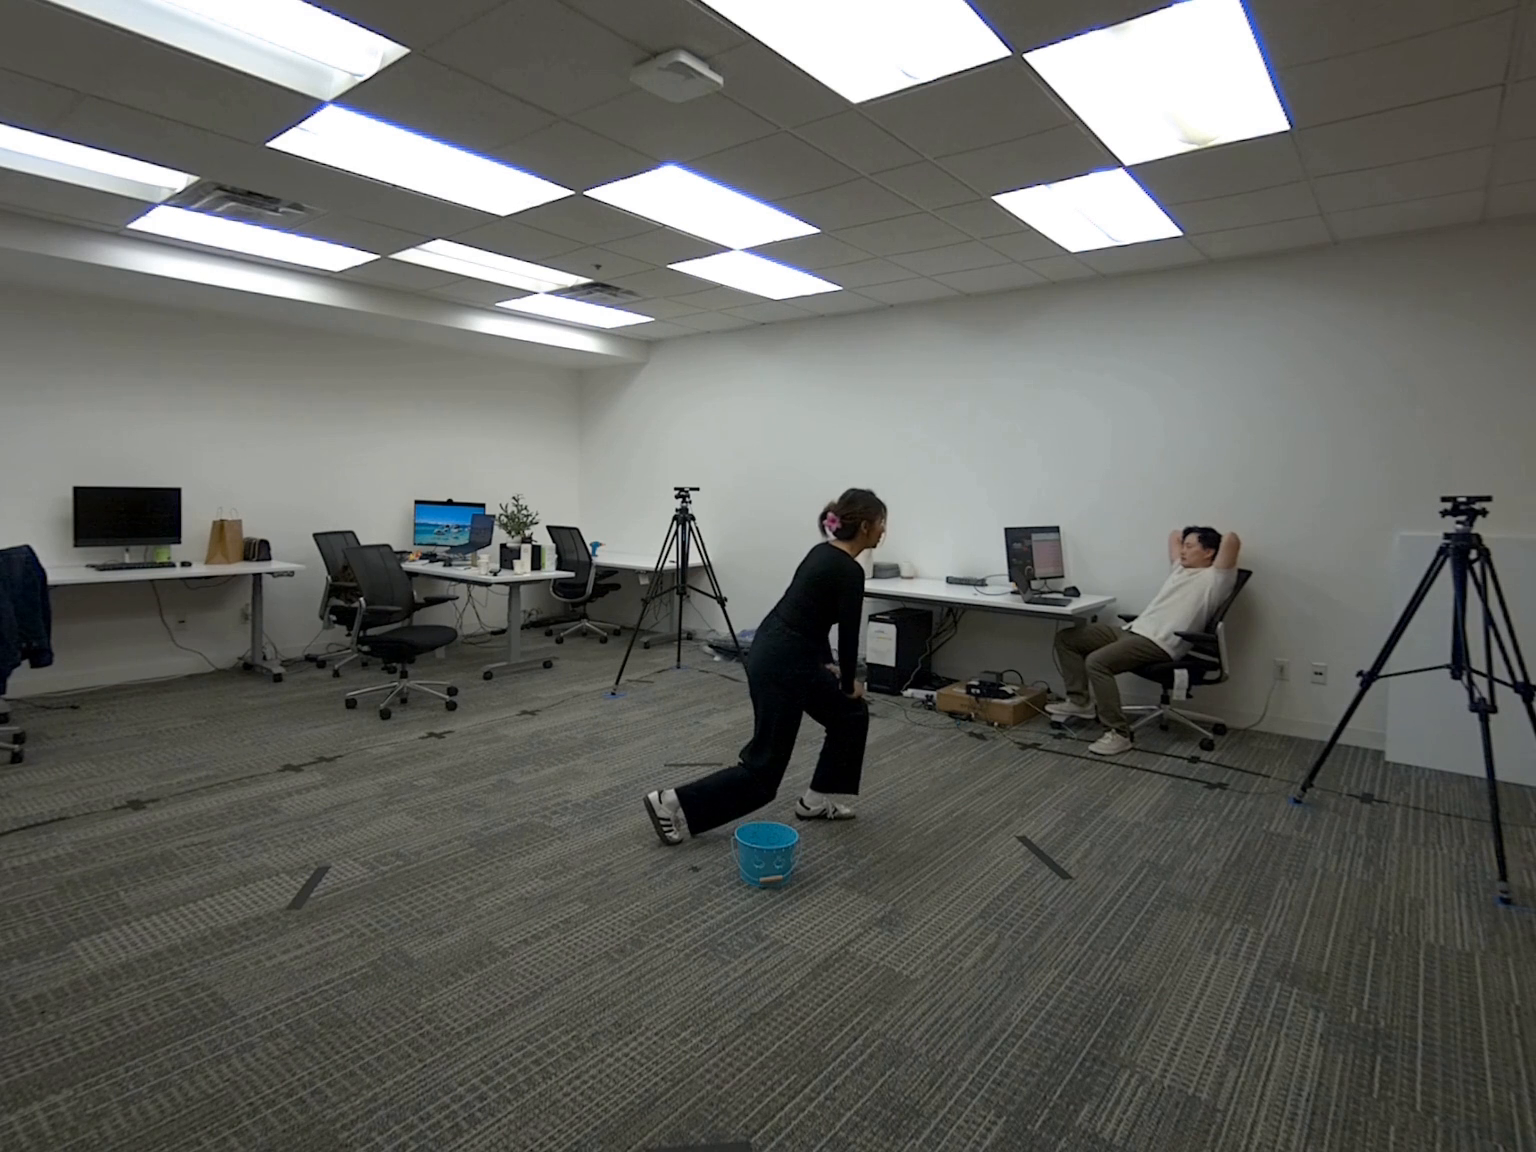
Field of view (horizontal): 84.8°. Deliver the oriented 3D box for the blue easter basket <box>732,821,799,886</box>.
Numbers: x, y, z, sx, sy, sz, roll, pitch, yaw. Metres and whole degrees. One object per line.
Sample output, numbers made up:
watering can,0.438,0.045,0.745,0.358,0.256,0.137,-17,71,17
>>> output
blue easter basket,-0.023,0.997,3.053,0.243,0.155,0.245,1,5,-2
